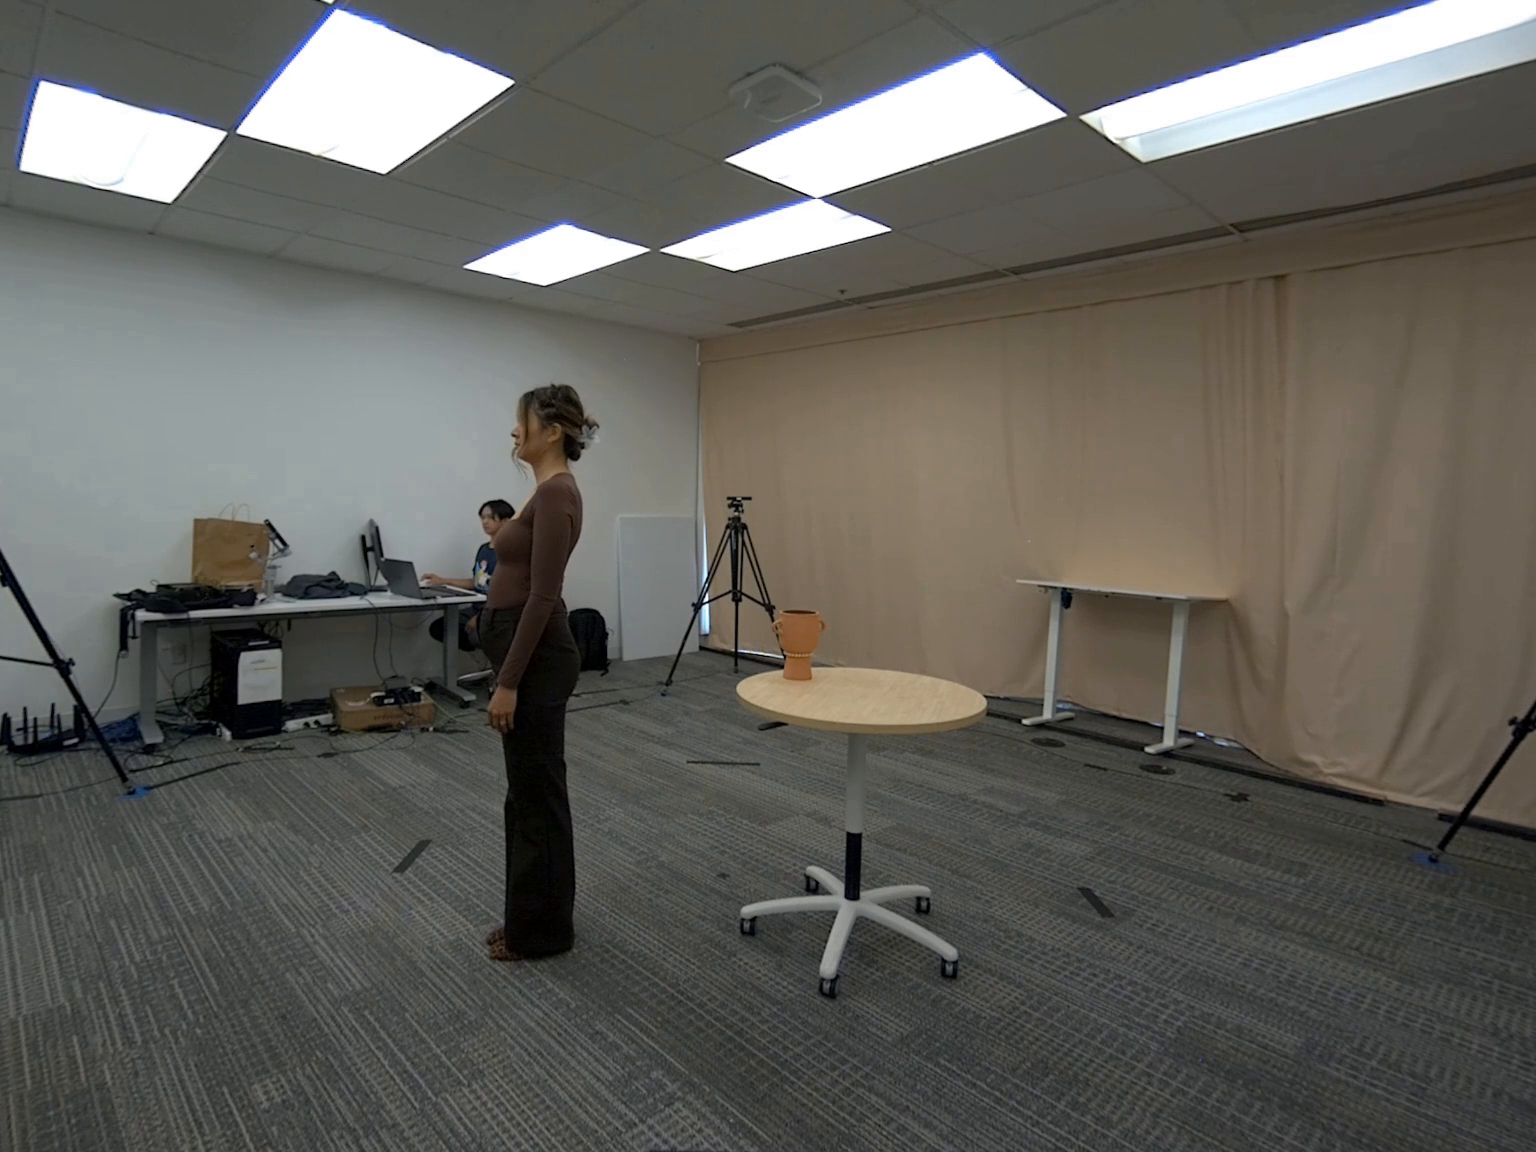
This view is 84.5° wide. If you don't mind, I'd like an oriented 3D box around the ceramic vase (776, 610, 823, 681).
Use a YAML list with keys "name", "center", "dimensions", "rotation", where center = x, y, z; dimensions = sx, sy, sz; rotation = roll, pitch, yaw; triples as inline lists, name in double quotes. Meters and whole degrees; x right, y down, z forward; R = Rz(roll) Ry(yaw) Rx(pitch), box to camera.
- name: "ceramic vase"
  center: [0.099, 0.233, 2.810]
  dimensions: [0.161, 0.219, 0.133]
  rotation: [1, 2, 16]
